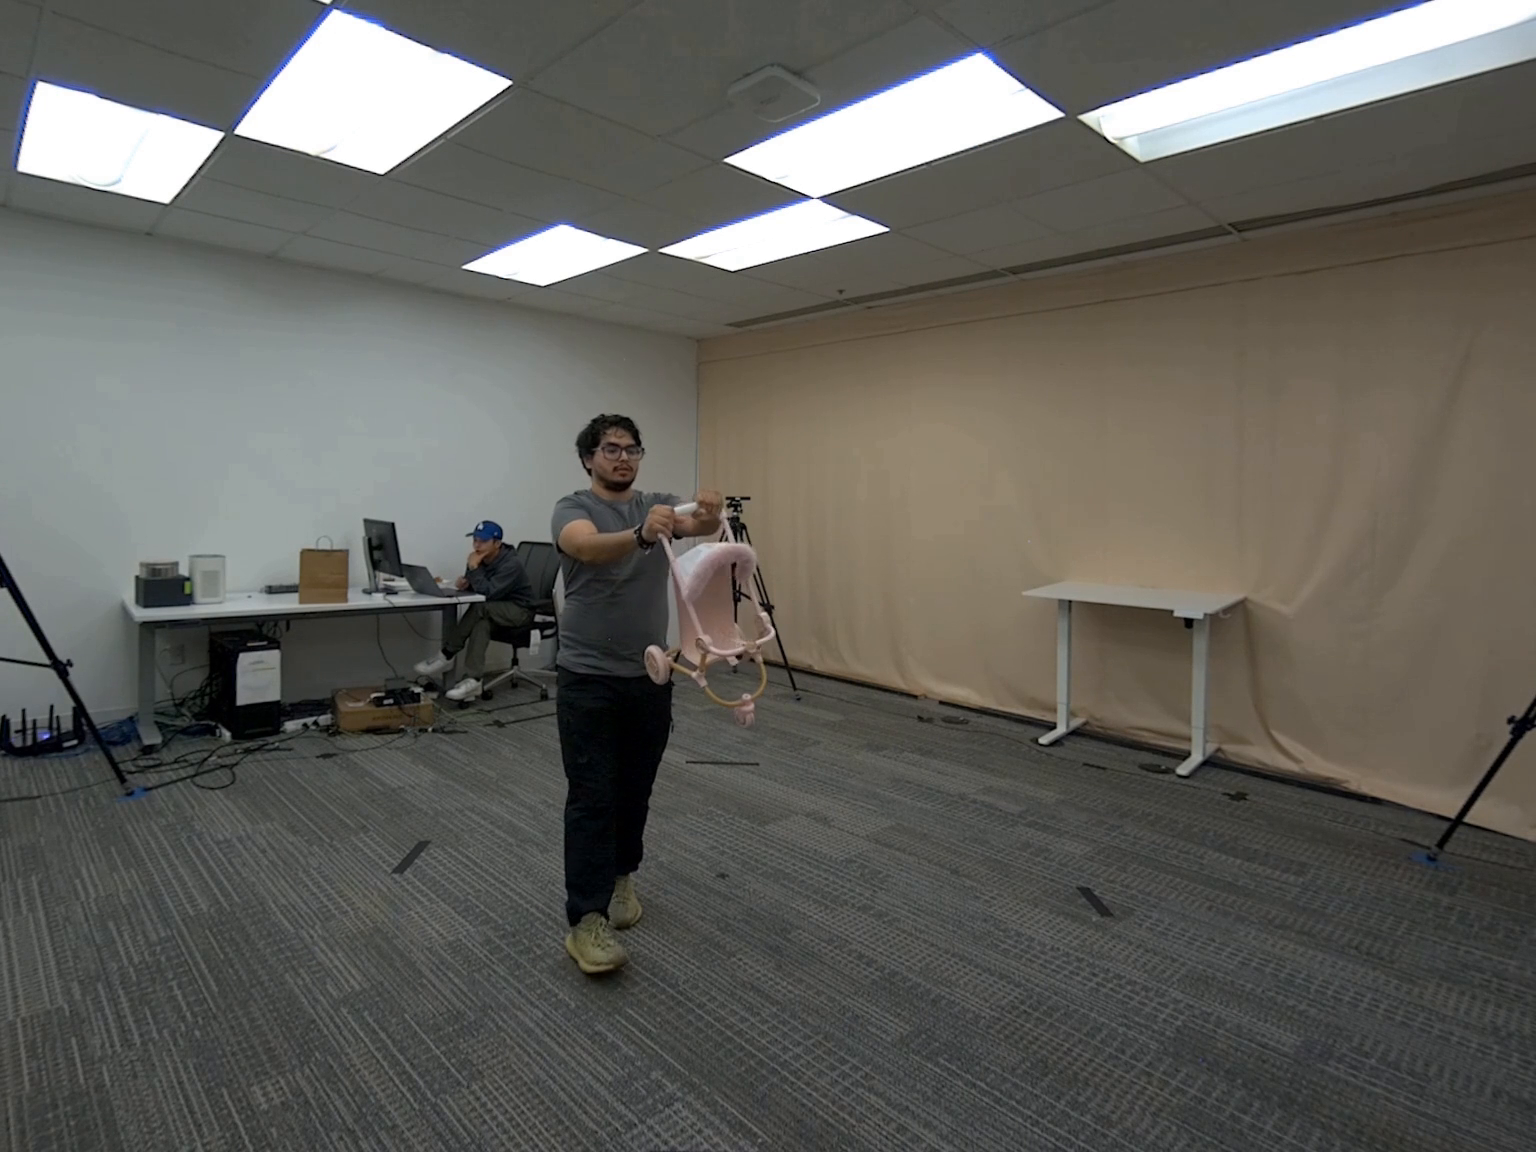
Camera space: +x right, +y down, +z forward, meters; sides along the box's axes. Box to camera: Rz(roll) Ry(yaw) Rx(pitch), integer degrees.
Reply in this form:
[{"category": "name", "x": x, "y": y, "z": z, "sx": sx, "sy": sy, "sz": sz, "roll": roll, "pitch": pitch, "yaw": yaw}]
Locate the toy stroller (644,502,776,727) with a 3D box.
[{"category": "toy stroller", "x": -0.140, "y": 0.118, "z": 2.213, "sx": 0.277, "sy": 0.526, "sz": 0.352, "roll": -14, "pitch": 30, "yaw": -32}]
